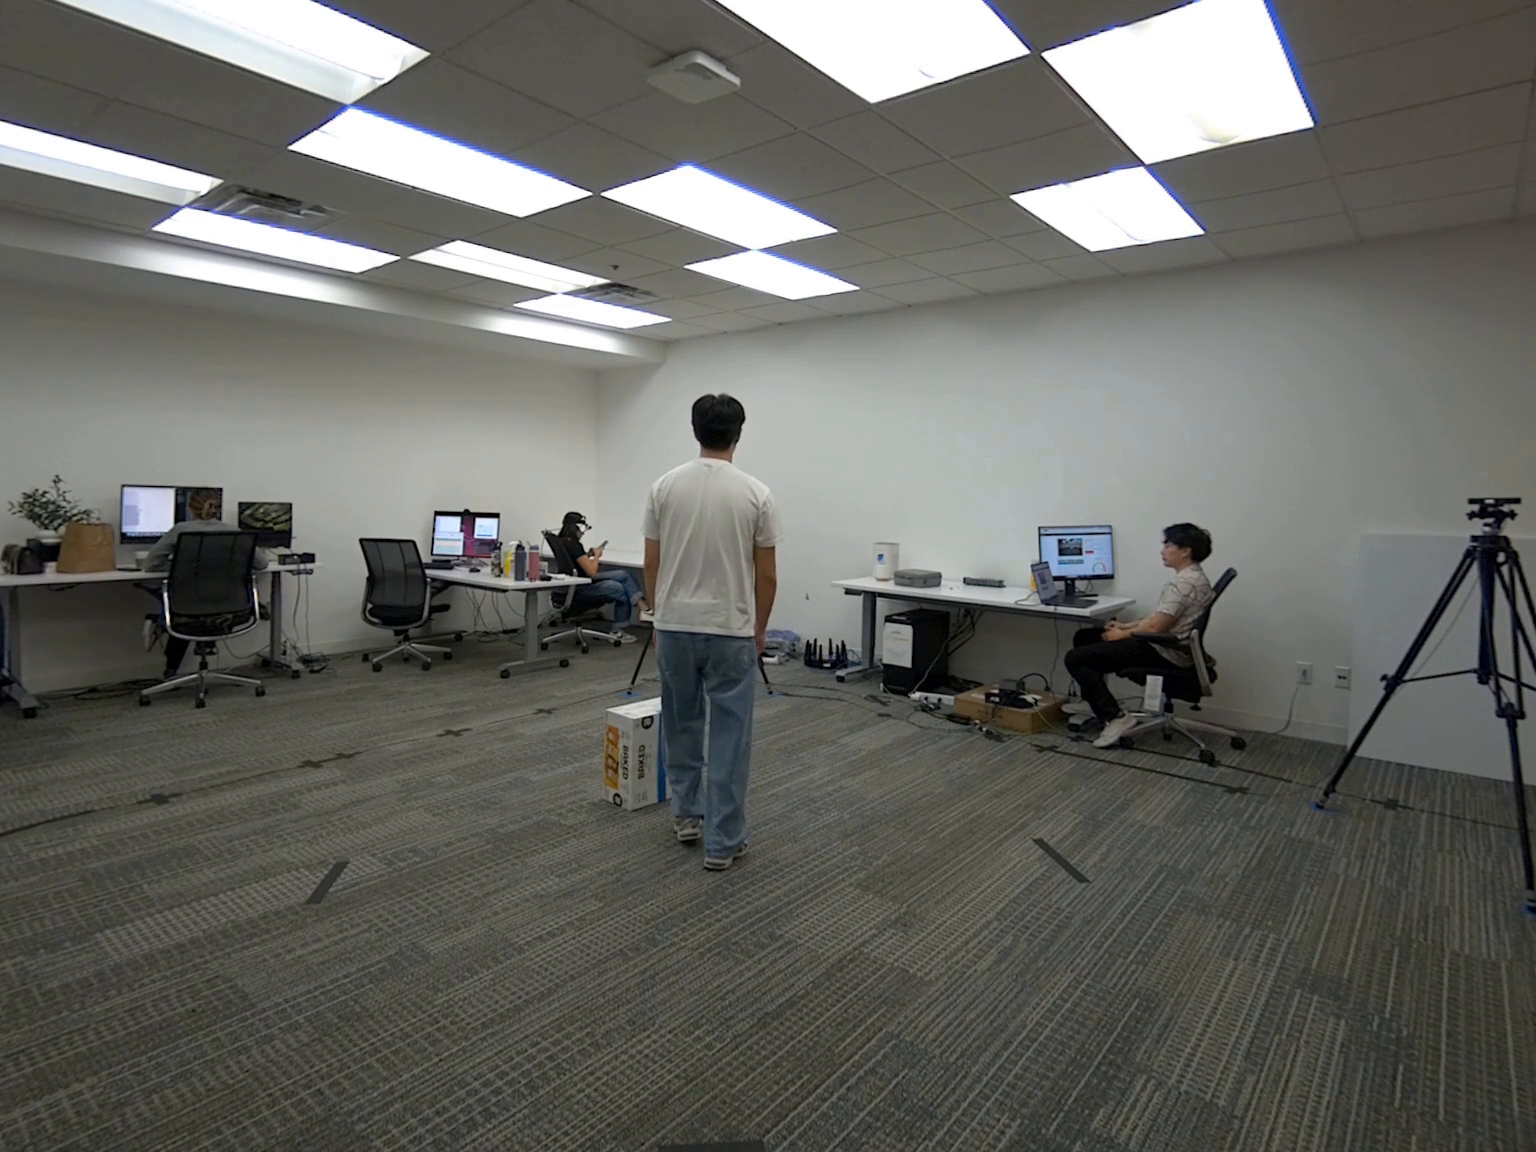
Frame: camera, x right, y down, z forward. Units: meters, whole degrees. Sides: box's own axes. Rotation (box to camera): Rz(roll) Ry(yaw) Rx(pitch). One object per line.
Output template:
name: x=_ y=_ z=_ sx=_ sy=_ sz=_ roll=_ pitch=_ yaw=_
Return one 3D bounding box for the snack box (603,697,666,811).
snack box: x=-0.559 y=0.788 z=3.823 sx=0.213 sy=0.404 sz=0.330 roll=5 pitch=6 yaw=42
